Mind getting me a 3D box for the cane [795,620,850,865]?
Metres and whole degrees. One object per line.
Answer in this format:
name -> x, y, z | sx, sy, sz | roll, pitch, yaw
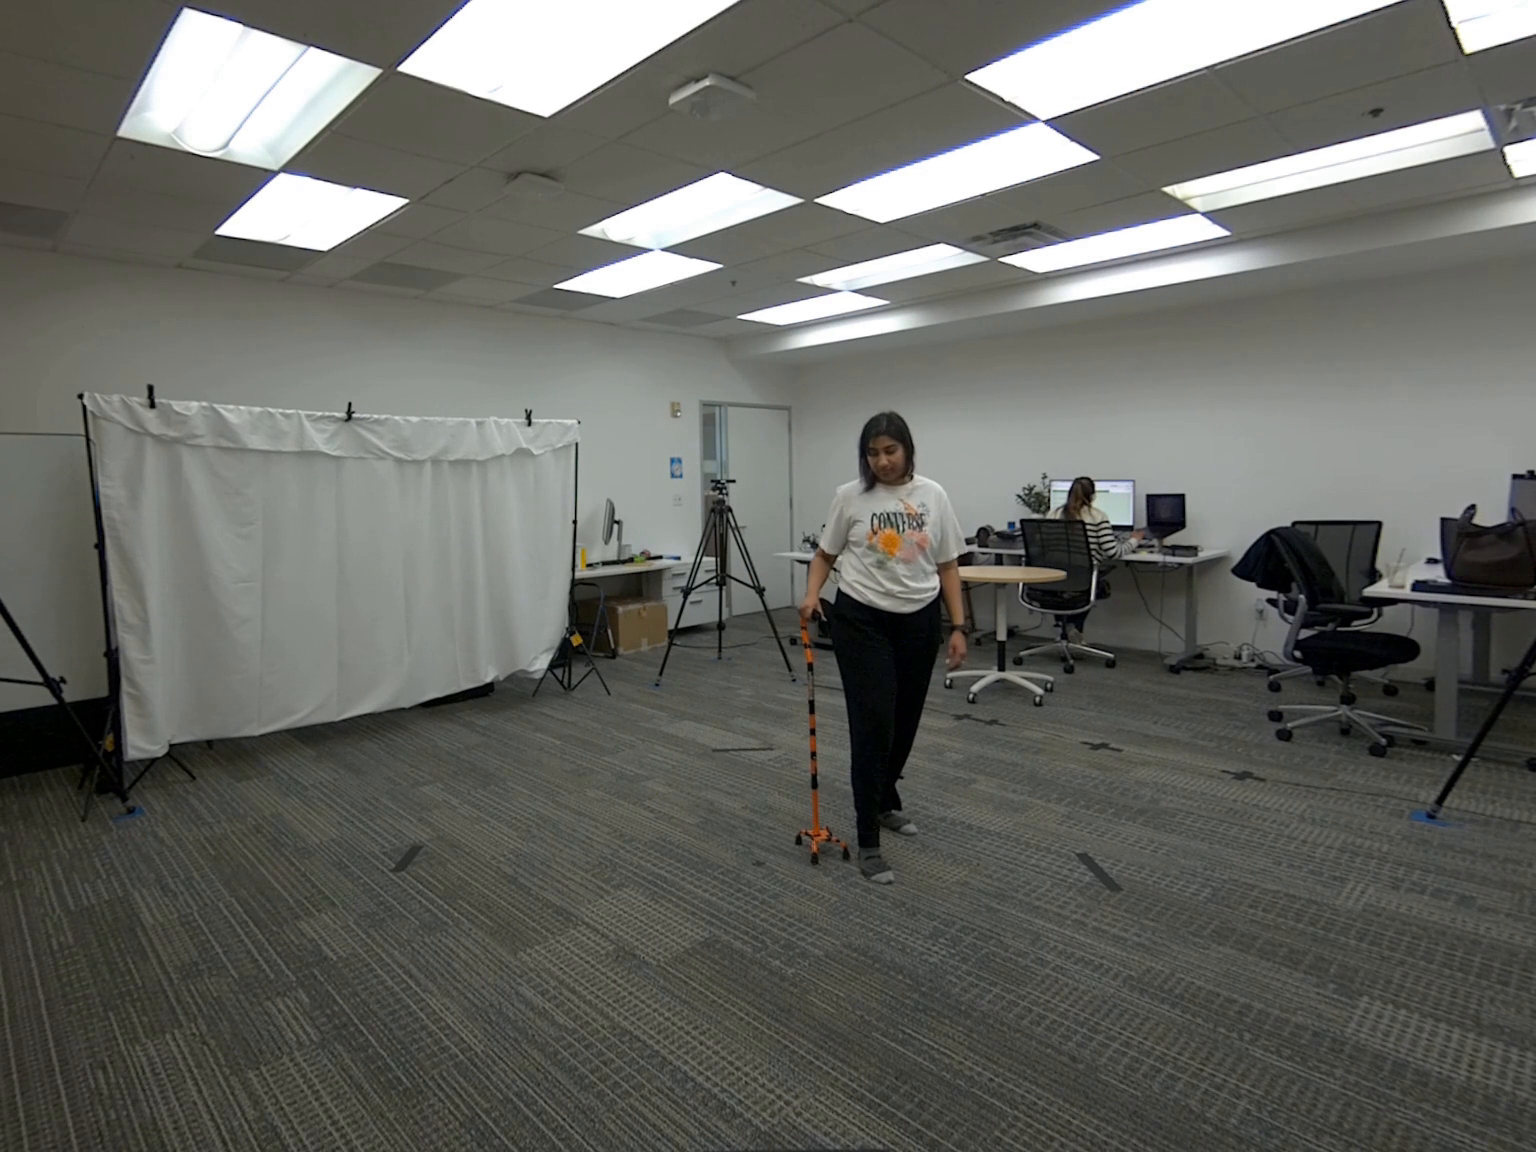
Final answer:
cane -> 0.178, 0.567, 3.184 | 0.150, 0.905, 0.210 | -3, 3, -14
